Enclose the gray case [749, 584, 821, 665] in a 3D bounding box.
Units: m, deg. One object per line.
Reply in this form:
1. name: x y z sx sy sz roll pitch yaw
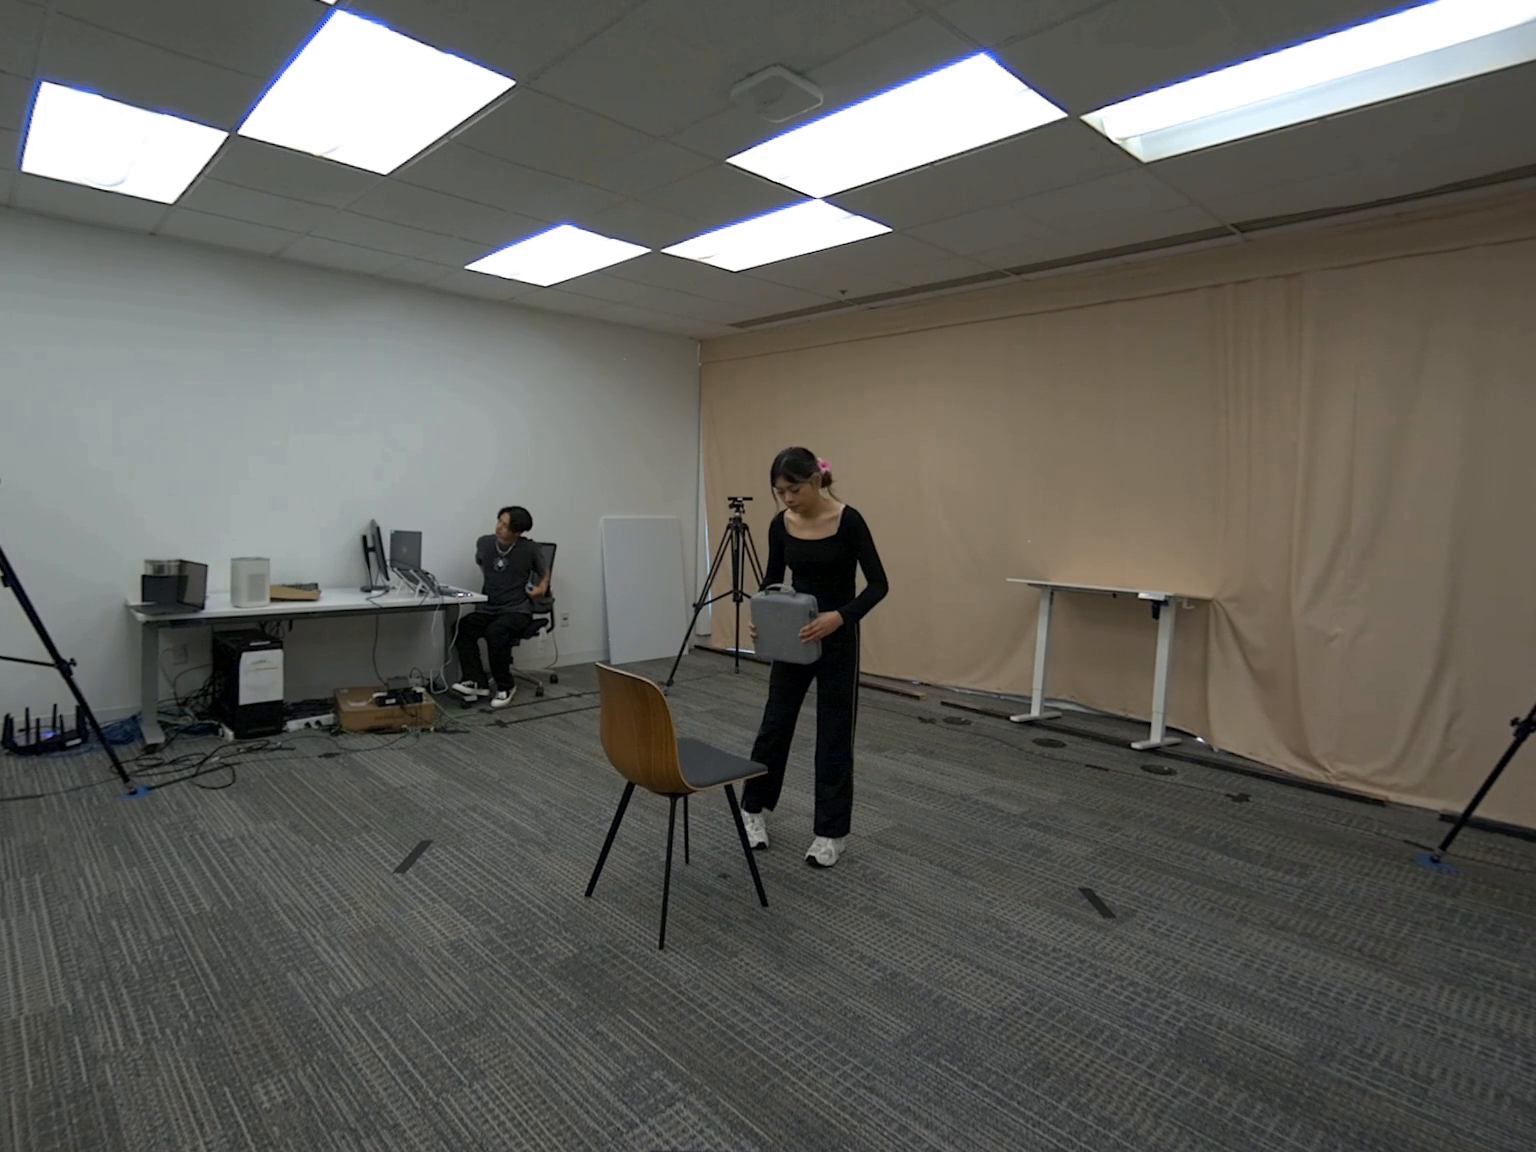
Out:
1. gray case: 0.056 0.189 3.131 0.263 0.258 0.103 3 16 36
